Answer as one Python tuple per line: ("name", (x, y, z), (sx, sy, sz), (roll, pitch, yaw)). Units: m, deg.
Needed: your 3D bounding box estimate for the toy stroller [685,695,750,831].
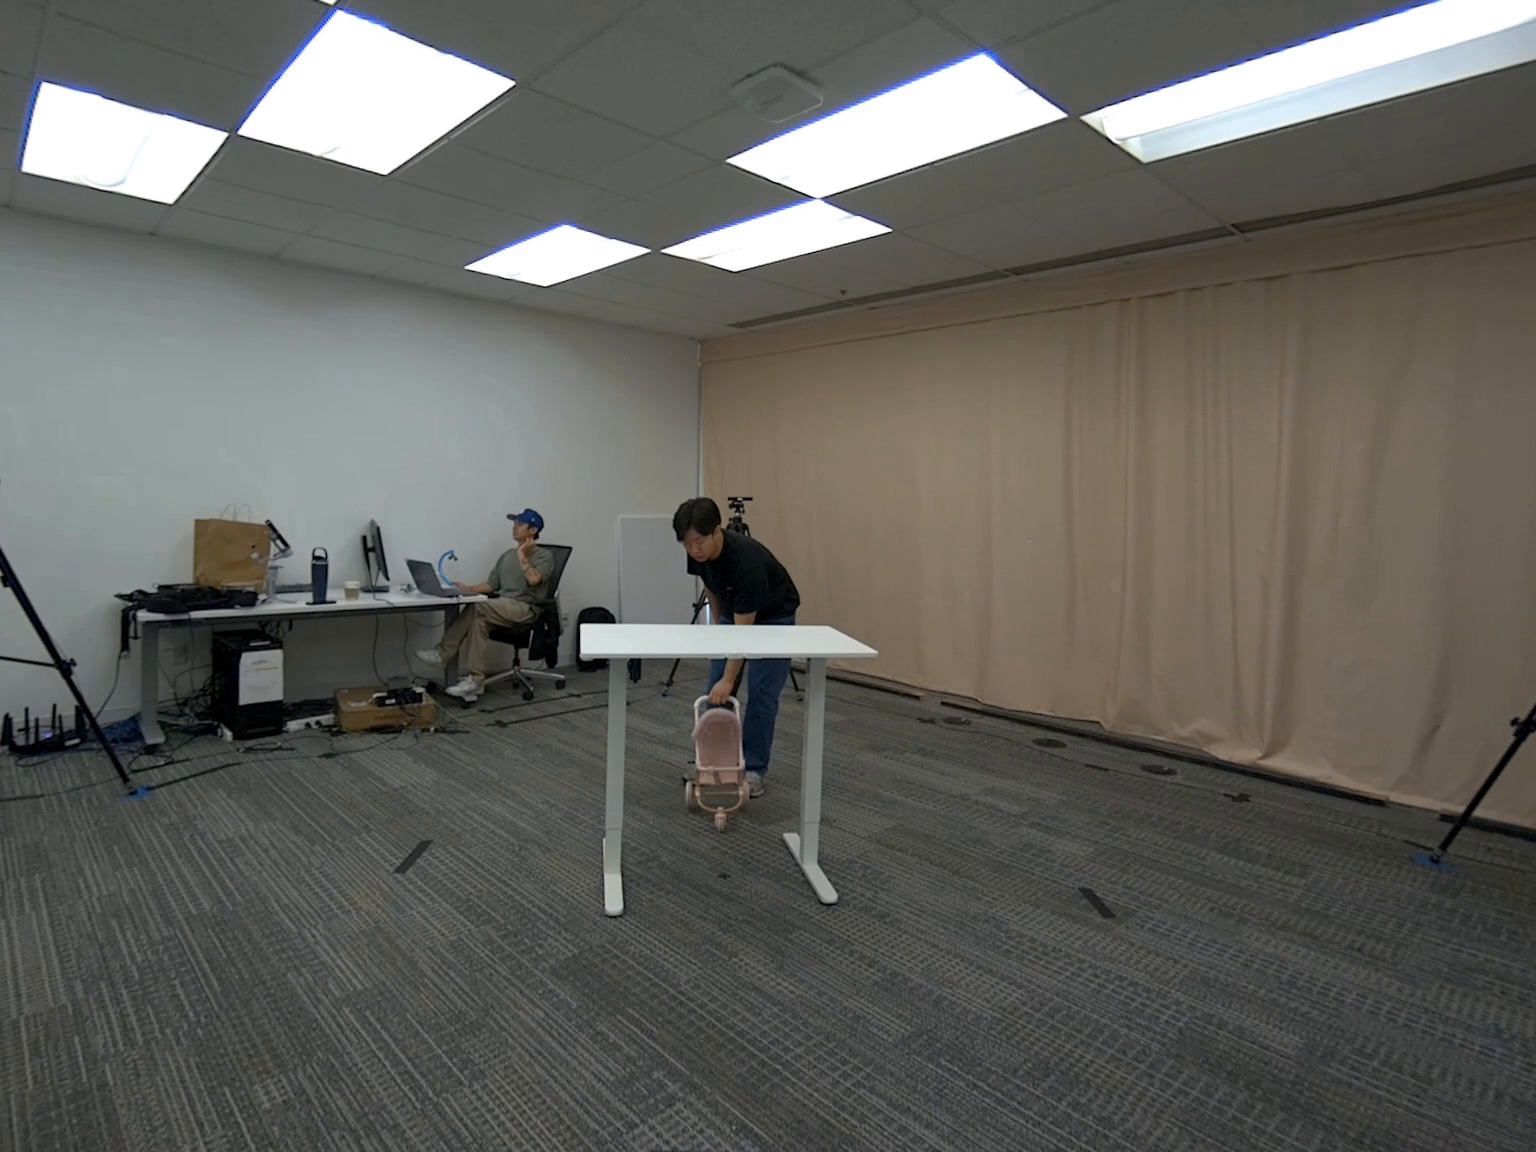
("toy stroller", (-0.230, 0.812, 3.669), (0.281, 0.537, 0.340), (1, -4, -2))
